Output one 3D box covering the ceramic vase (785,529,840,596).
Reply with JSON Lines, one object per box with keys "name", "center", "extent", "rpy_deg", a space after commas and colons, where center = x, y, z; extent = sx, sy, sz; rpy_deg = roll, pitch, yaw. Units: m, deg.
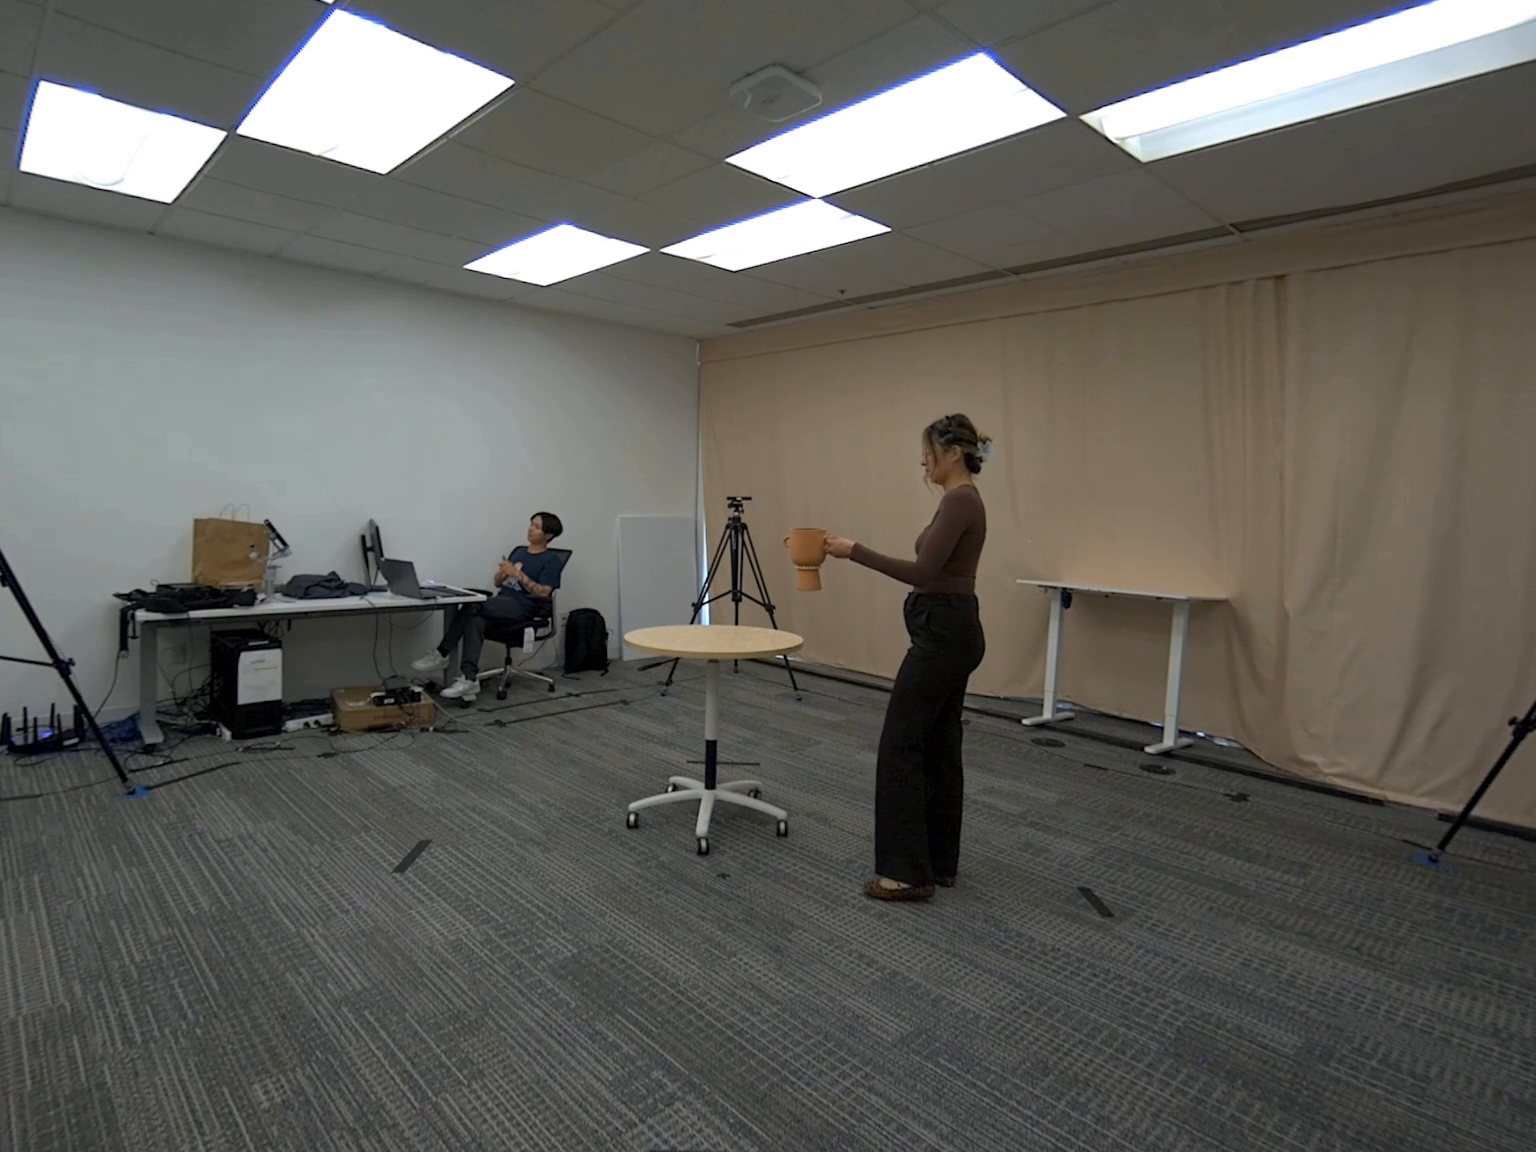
{"name": "ceramic vase", "center": [0.157, -0.056, 3.050], "extent": [0.133, 0.219, 0.162], "rpy_deg": [-3, 5, -20]}
